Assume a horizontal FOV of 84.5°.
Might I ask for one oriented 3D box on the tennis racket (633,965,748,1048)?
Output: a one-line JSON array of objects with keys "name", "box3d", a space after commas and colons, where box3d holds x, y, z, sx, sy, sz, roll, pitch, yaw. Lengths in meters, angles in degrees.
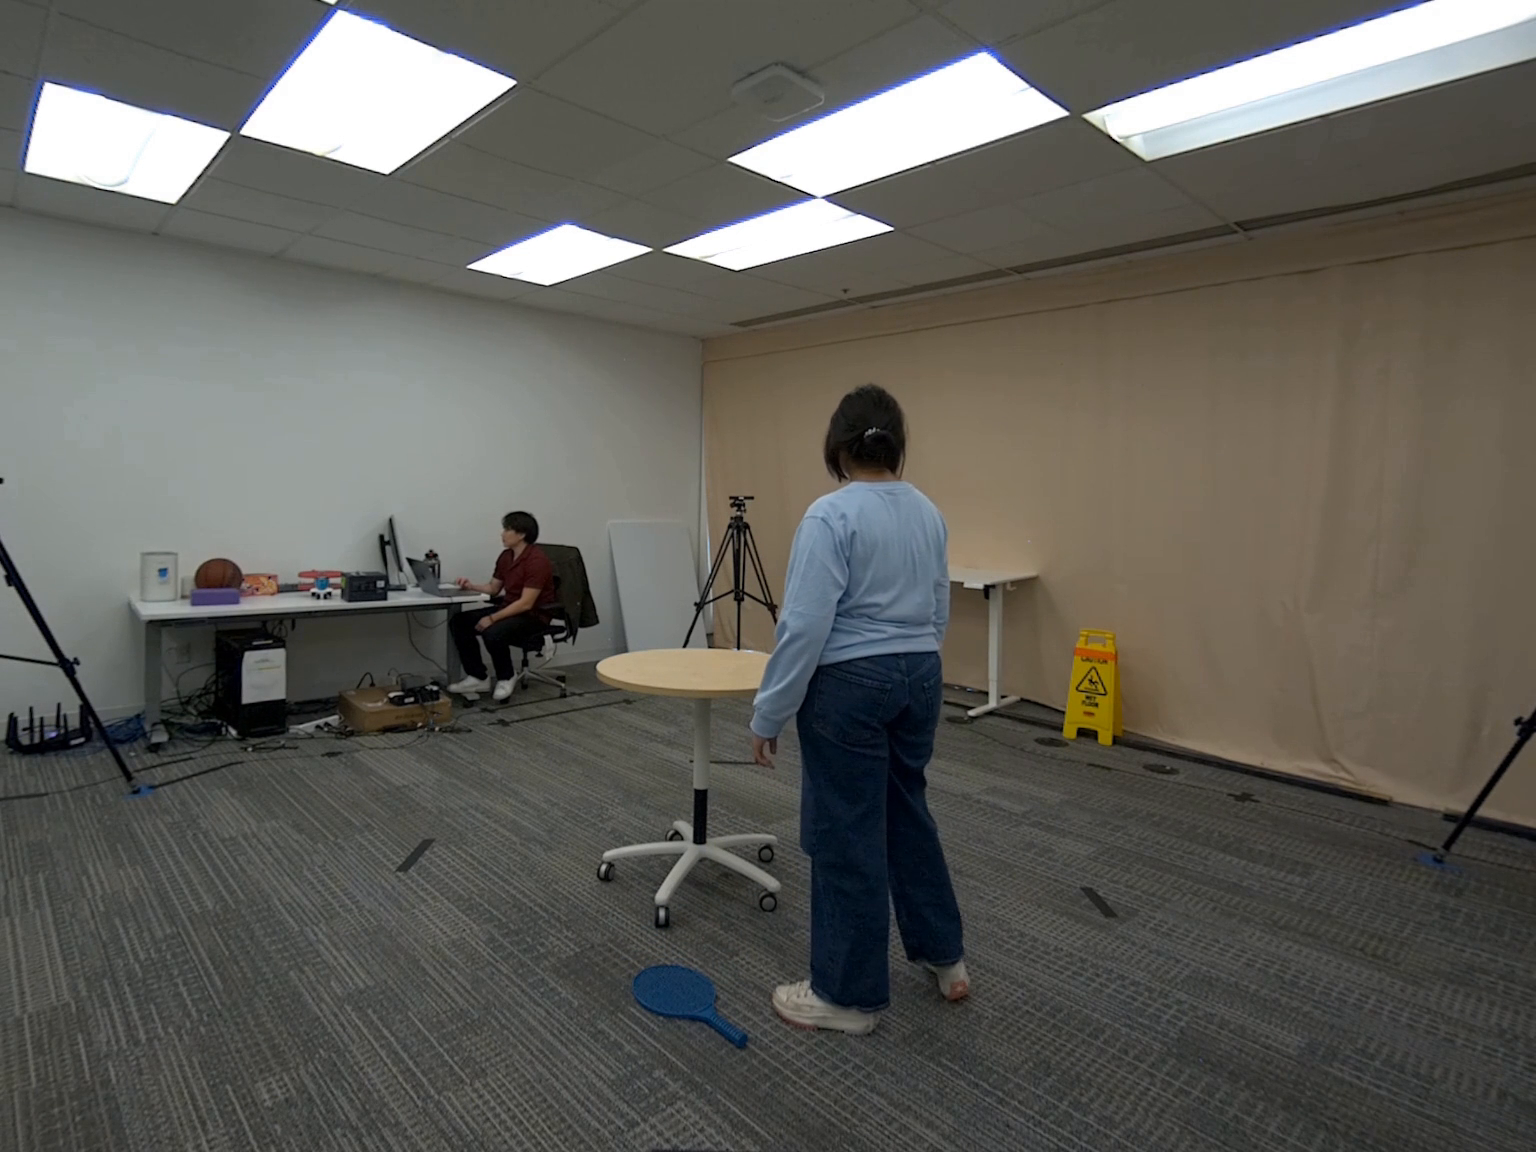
[{"name": "tennis racket", "box3d": [-0.208, 1.159, 2.305, 0.209, 0.031, 0.444, -5, 7, -42]}]
